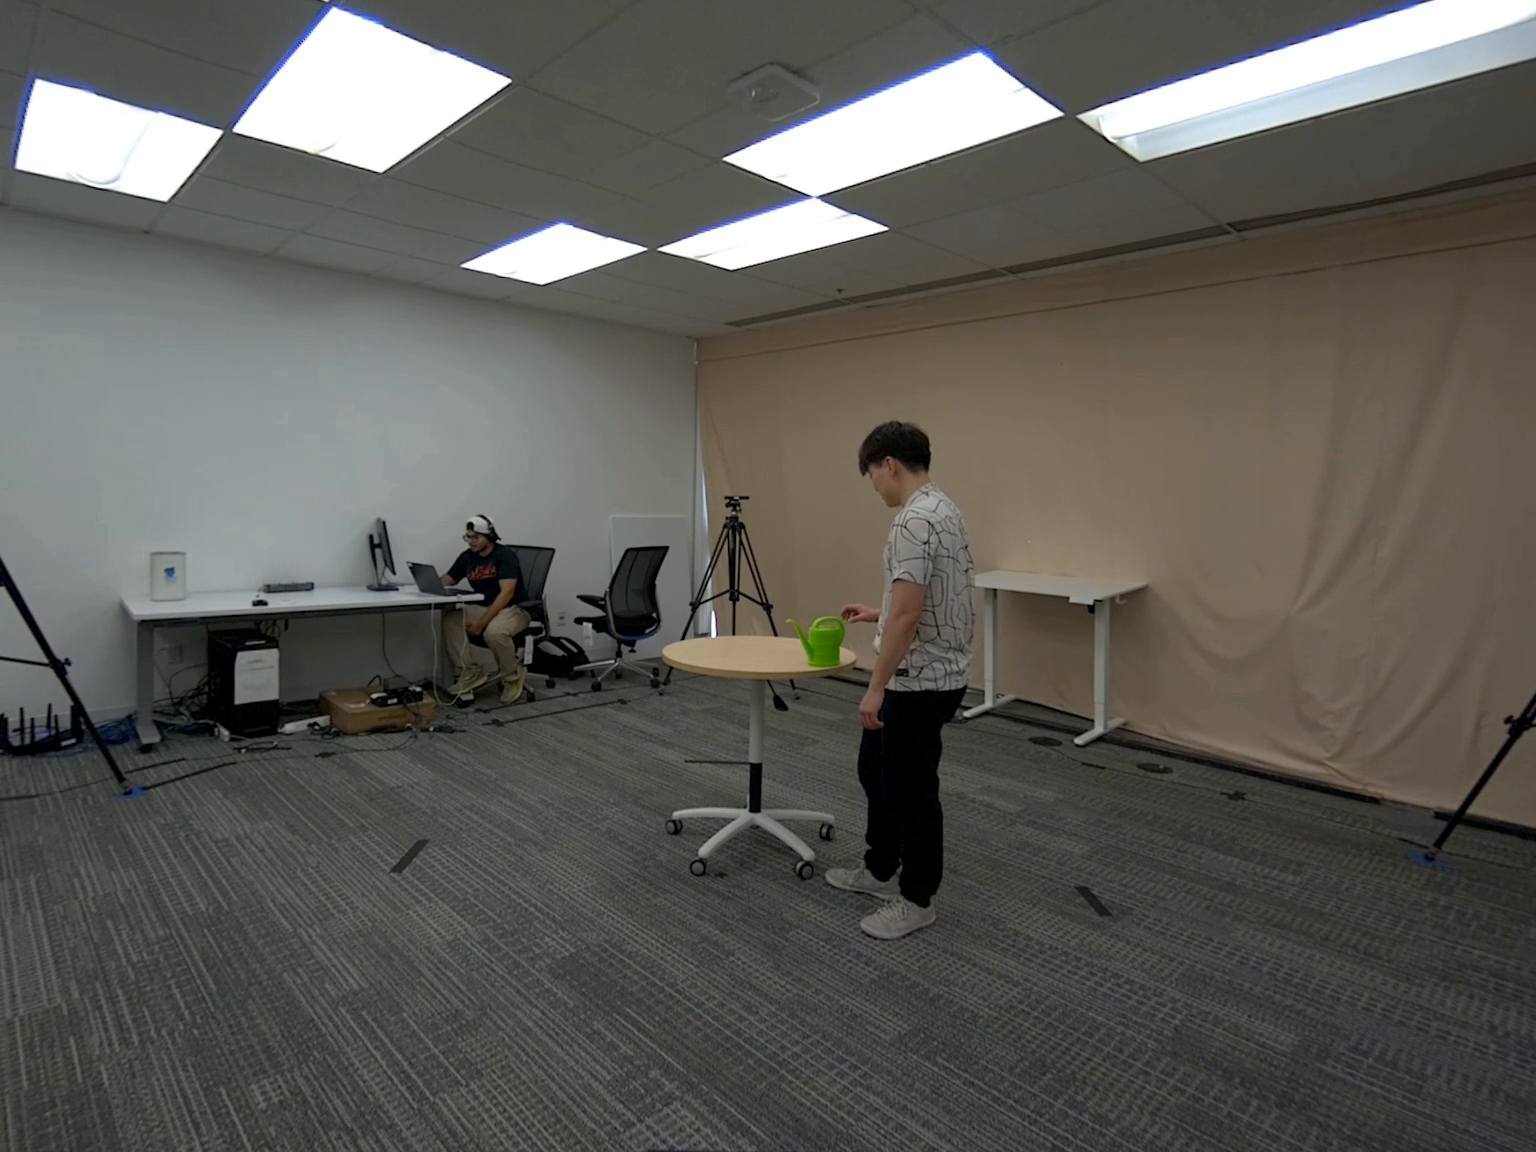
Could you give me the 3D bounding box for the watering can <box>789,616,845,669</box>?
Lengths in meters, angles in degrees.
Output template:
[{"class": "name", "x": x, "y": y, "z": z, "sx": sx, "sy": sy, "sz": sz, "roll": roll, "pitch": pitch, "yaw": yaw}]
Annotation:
[{"class": "watering can", "x": 0.157, "y": 0.243, "z": 3.103, "sx": 0.273, "sy": 0.177, "sz": 0.100, "roll": 0, "pitch": 1, "yaw": -25}]
